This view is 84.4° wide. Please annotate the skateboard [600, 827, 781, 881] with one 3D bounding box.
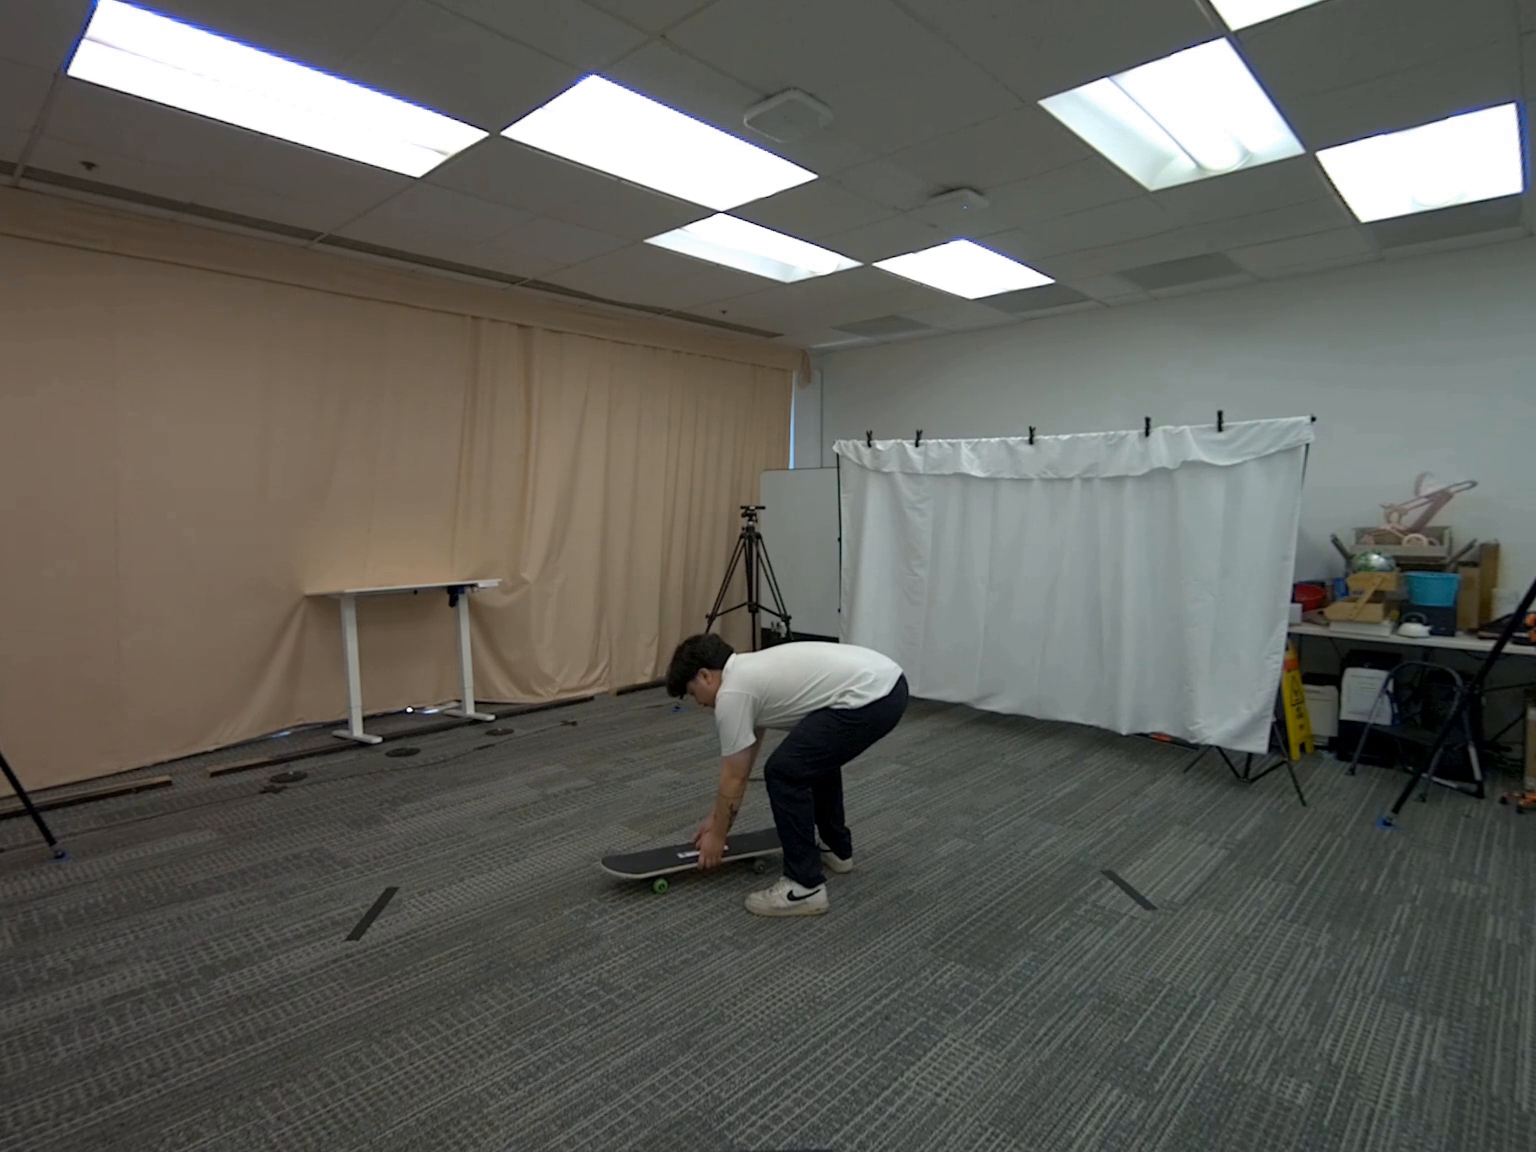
[{"bbox_3d":[-0.243,1.074,3.181,0.768,0.110,0.198,-2,3,-23],"label":"skateboard"}]
